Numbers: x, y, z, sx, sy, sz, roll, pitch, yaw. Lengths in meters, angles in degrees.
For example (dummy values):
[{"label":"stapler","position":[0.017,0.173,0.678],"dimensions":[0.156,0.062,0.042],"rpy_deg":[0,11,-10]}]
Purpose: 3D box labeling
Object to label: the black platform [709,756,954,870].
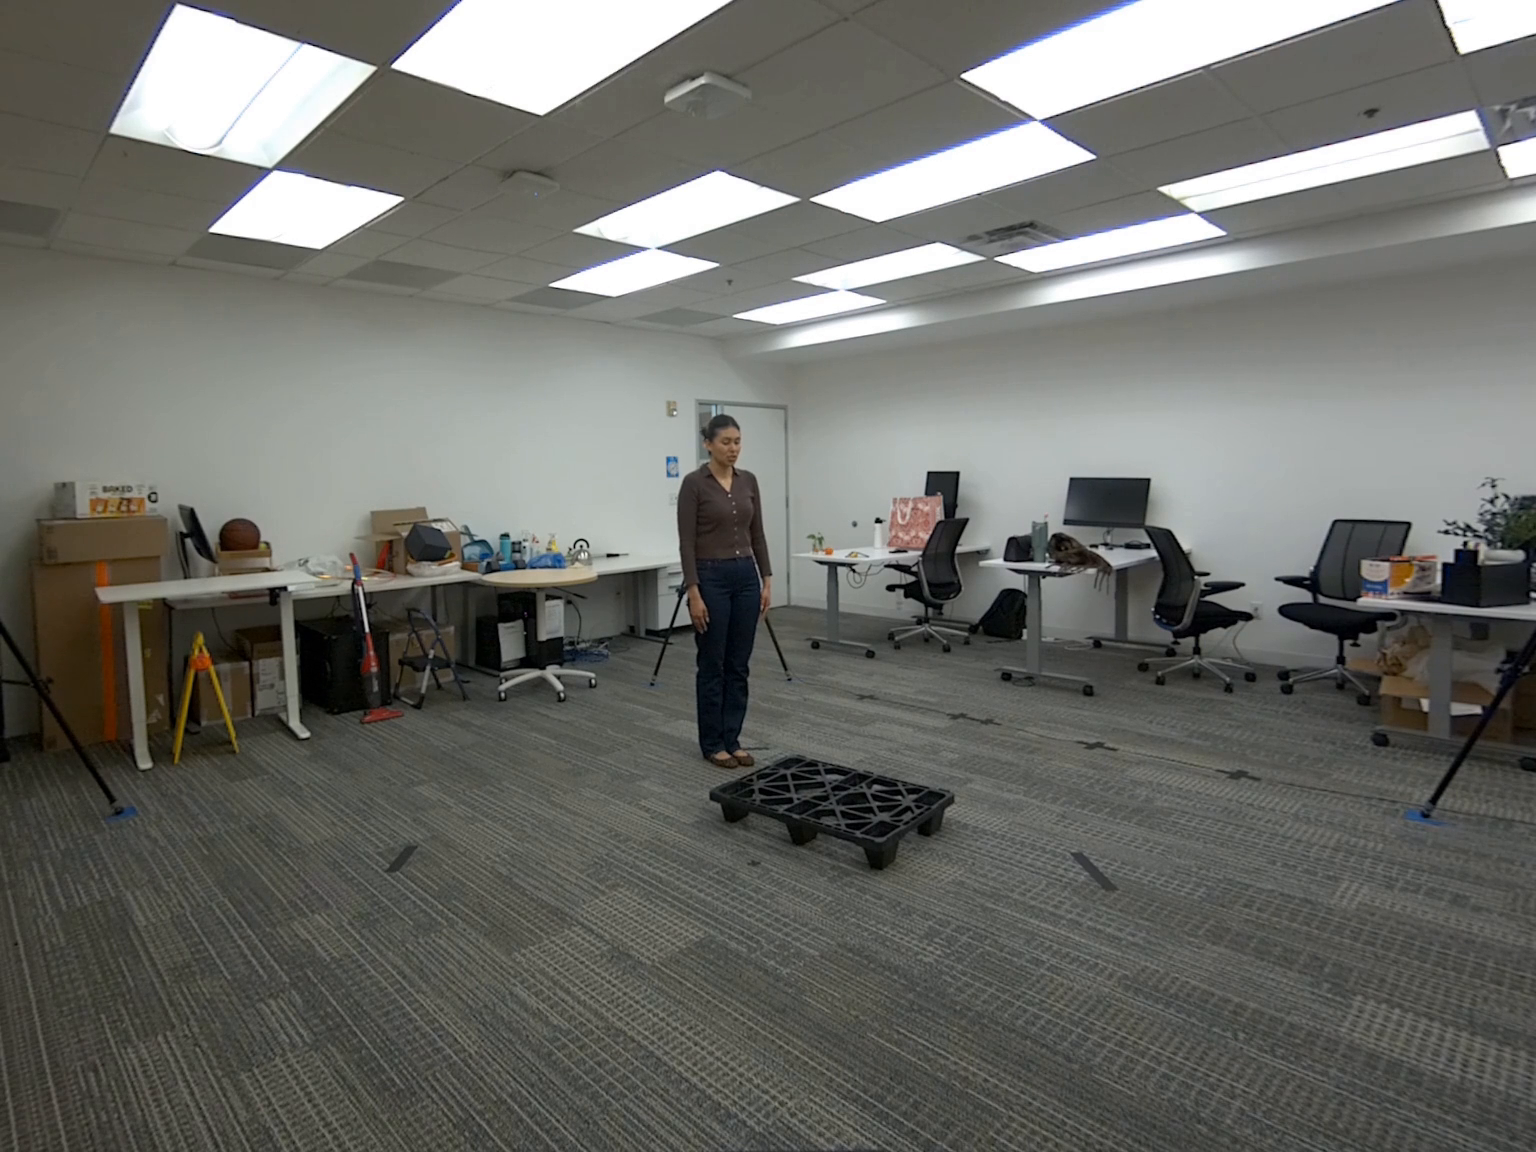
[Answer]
[{"label":"black platform","position":[0.253,0.935,3.443],"dimensions":[0.830,0.143,0.589],"rpy_deg":[4,7,39]}]
